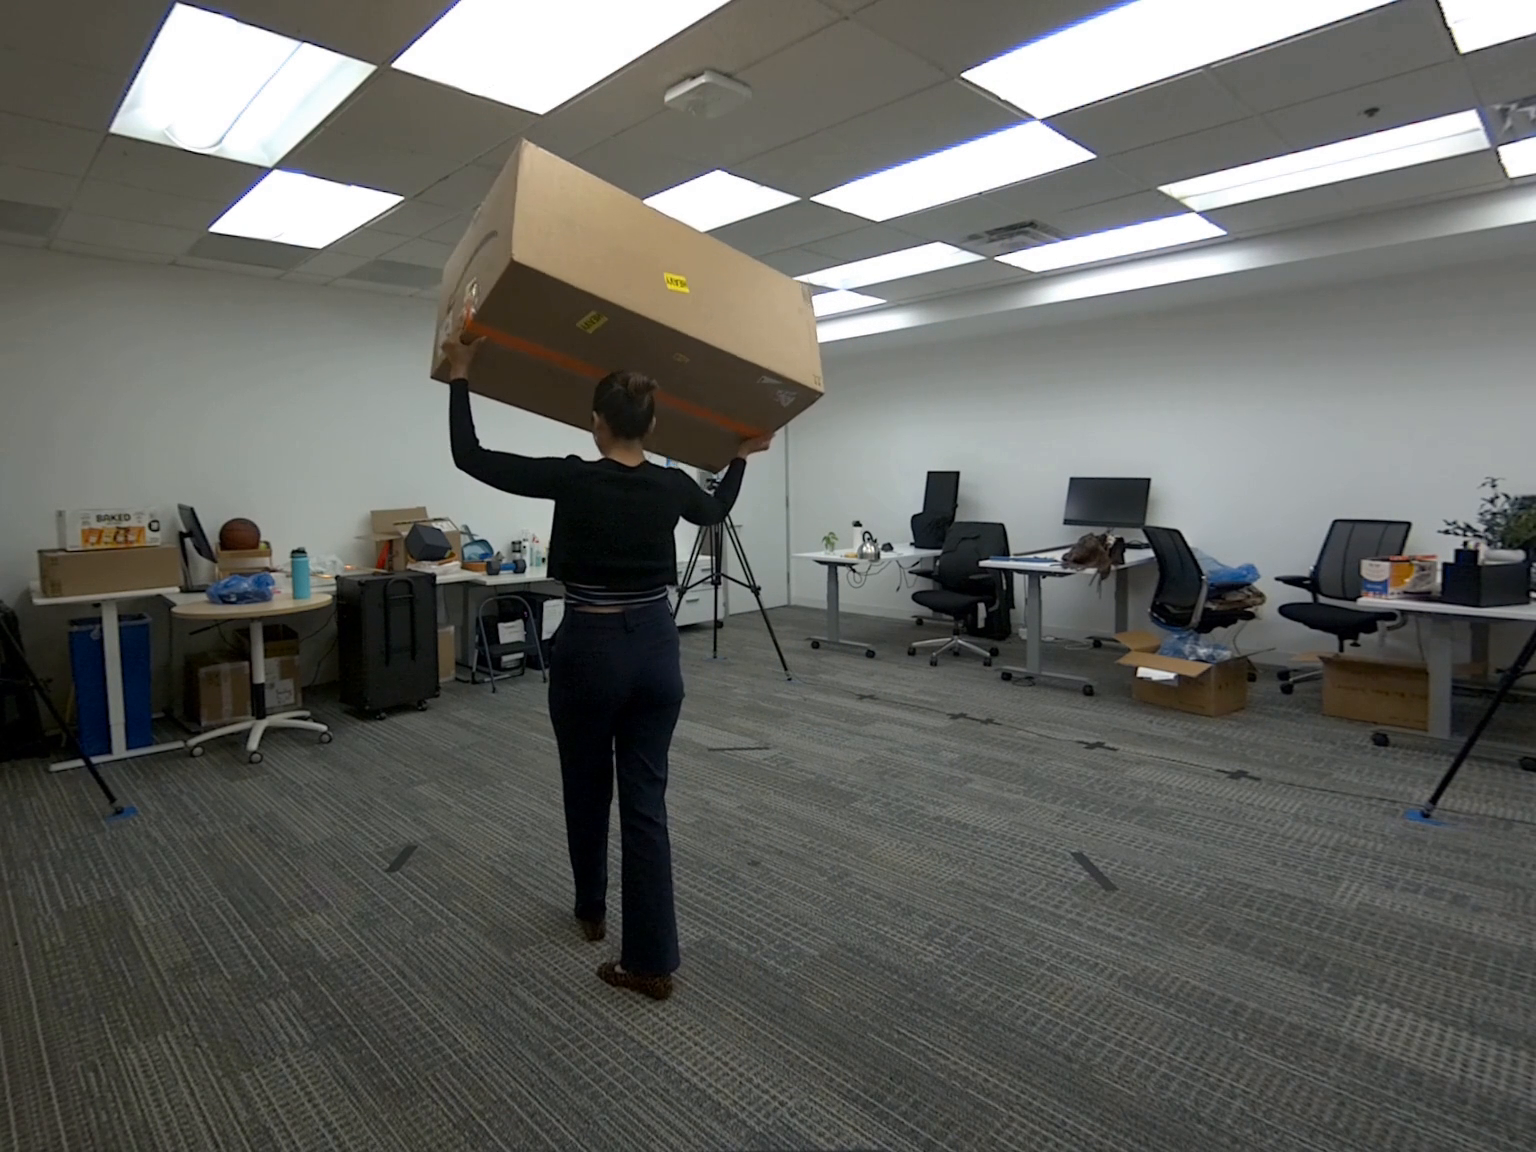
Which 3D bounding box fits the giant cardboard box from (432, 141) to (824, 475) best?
[{"bbox_3d":[-0.407,-0.743,2.621,0.993,0.436,0.584,15,-30,-35],"label":"giant cardboard box"}]
